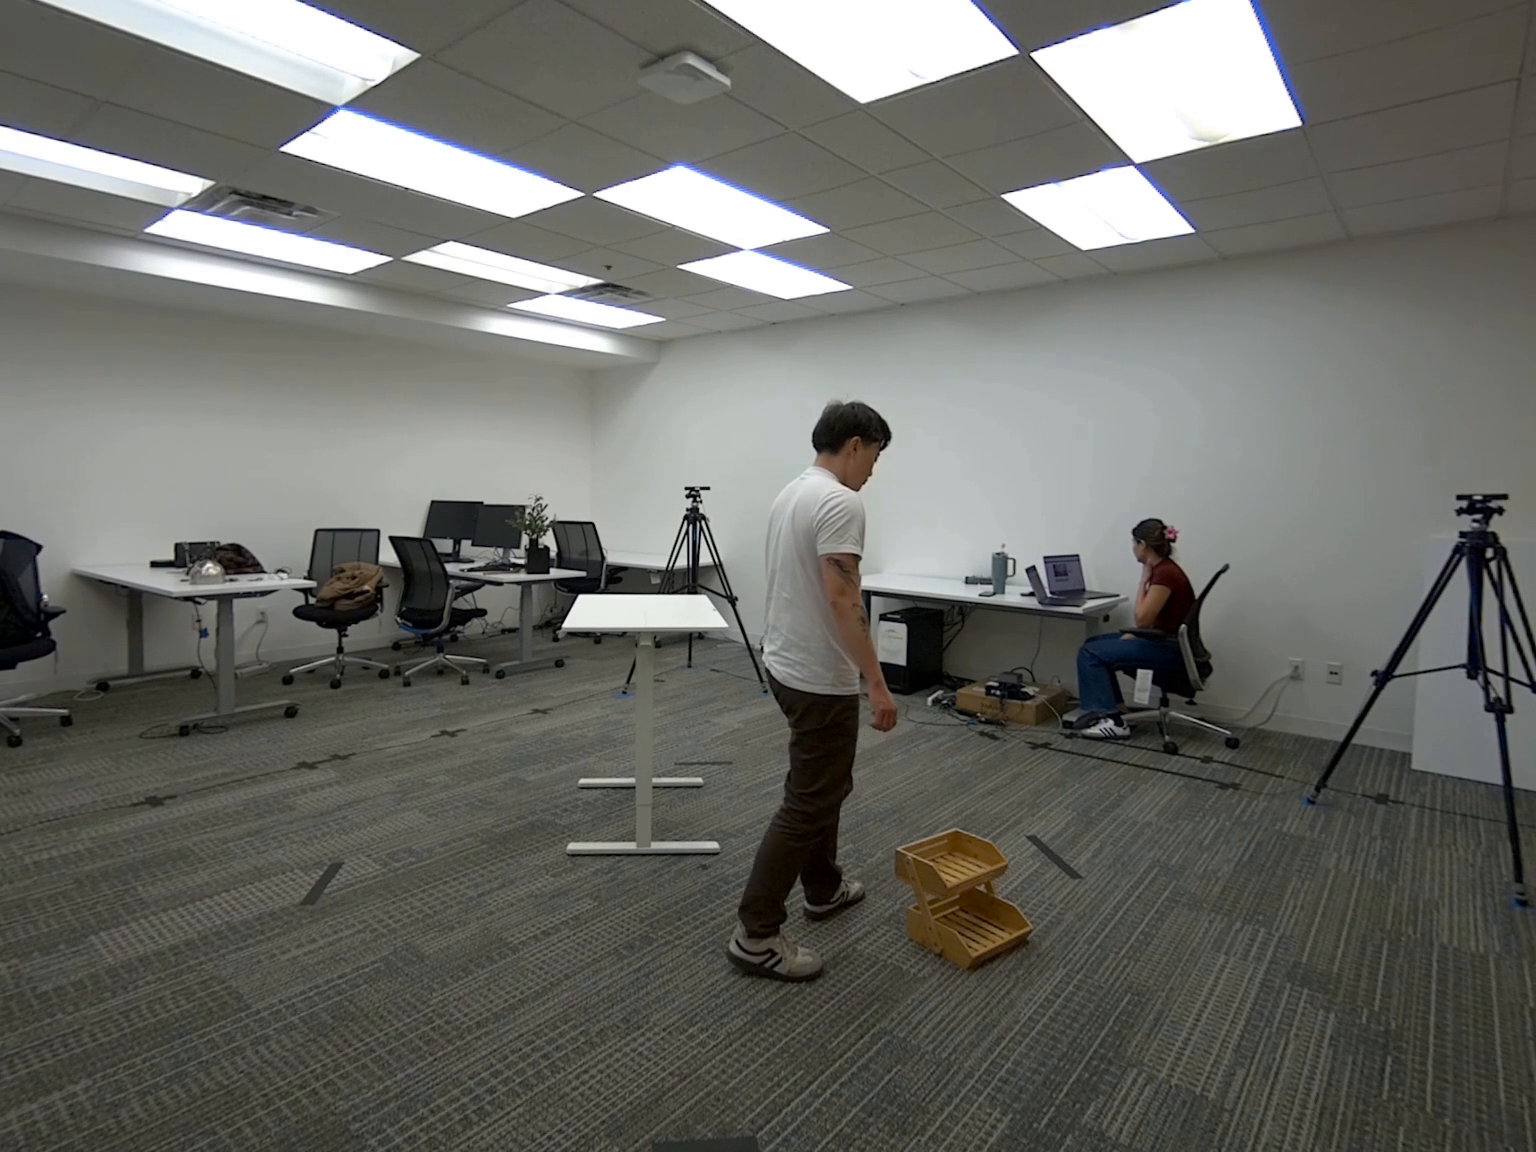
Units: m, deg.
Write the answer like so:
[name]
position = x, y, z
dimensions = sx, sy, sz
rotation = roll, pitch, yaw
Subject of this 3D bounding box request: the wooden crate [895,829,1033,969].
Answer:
[wooden crate]
position = 0.610, 0.994, 2.662
dimensions = 0.315, 0.272, 0.312
rotation = -2, 5, -38
